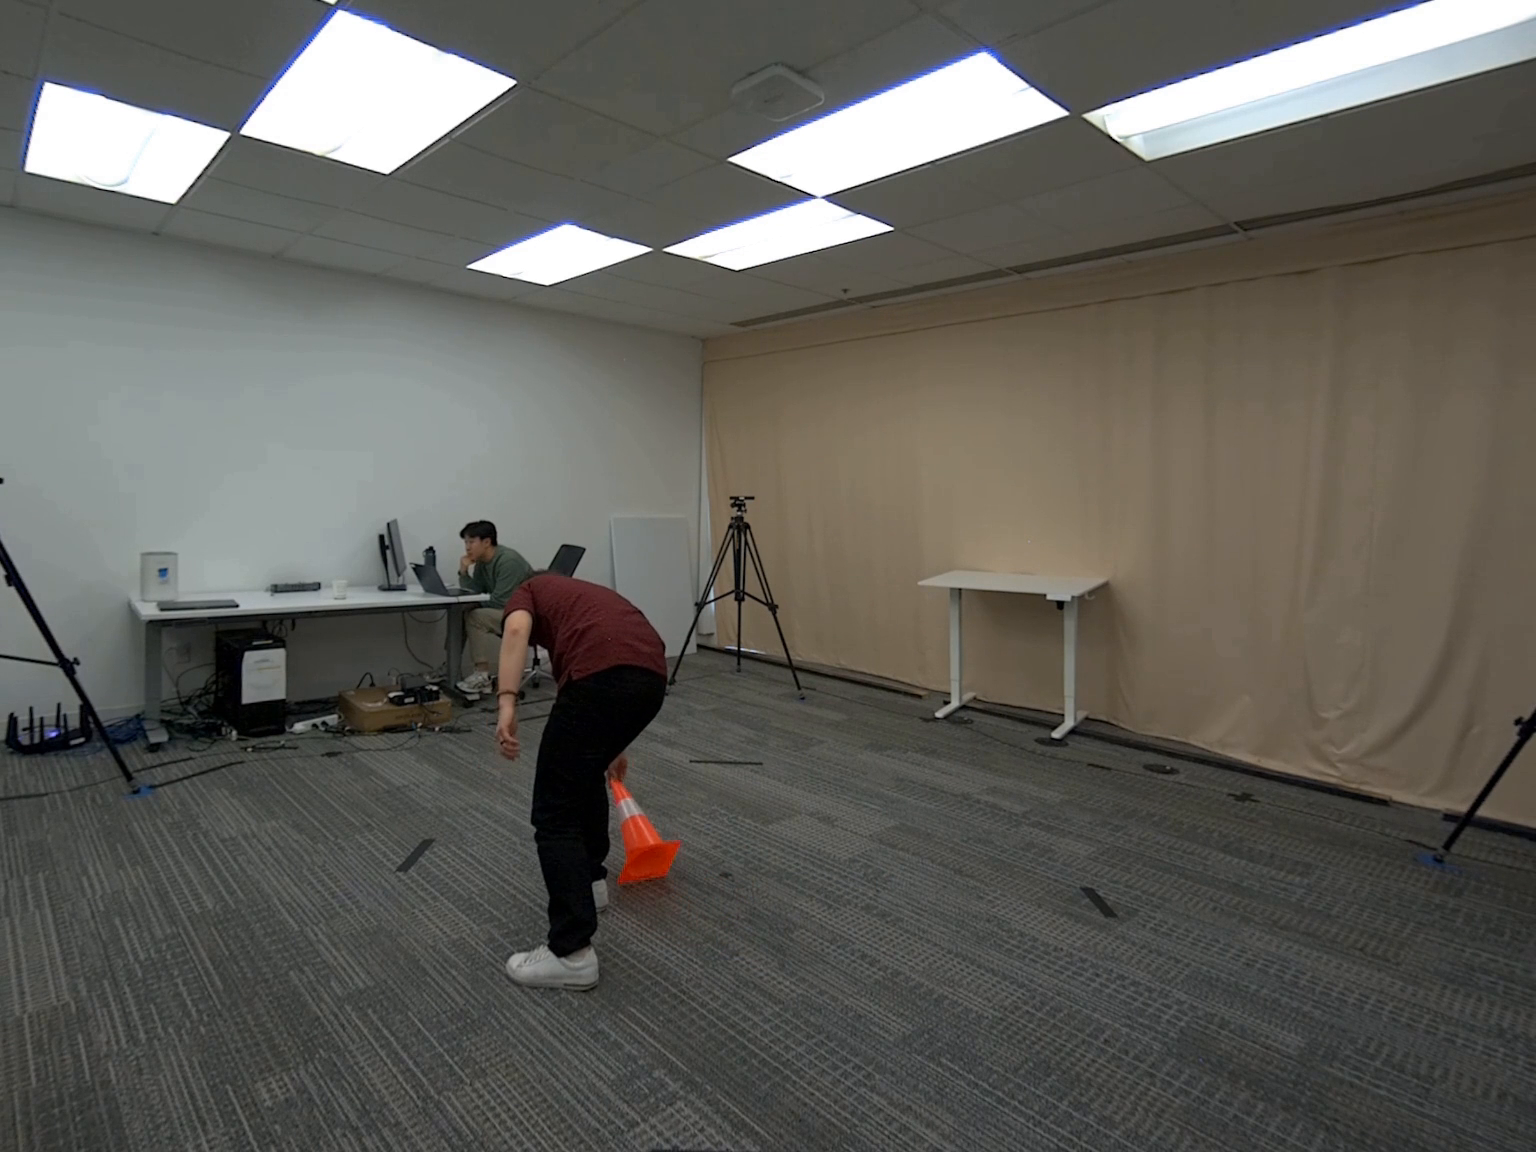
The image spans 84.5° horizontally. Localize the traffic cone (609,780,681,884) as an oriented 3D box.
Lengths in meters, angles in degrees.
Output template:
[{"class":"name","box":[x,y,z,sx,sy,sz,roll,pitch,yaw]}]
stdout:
[{"class":"traffic cone","box":[-0.519,0.909,3.125,0.201,0.201,0.396,-4,36,-32]}]
